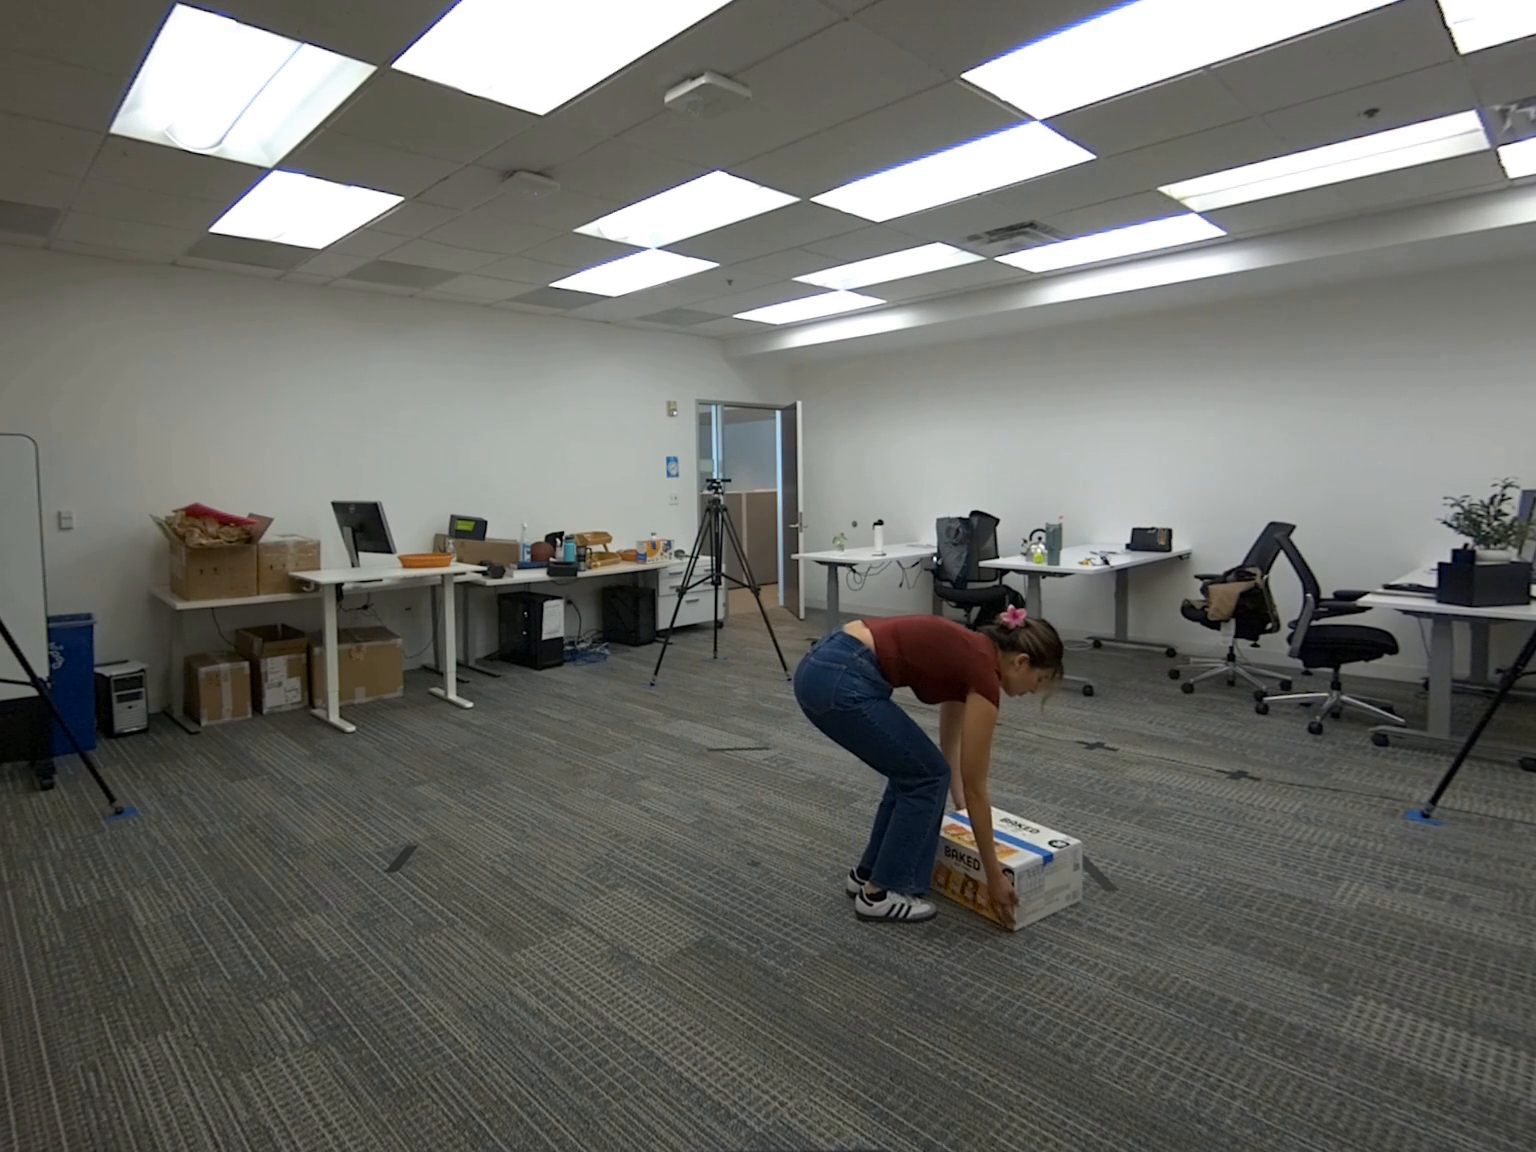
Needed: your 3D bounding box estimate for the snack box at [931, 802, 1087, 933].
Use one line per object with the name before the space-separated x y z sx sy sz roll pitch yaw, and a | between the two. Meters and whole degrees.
snack box | 0.774 0.946 2.850 0.332 0.205 0.417 -5 7 -35
